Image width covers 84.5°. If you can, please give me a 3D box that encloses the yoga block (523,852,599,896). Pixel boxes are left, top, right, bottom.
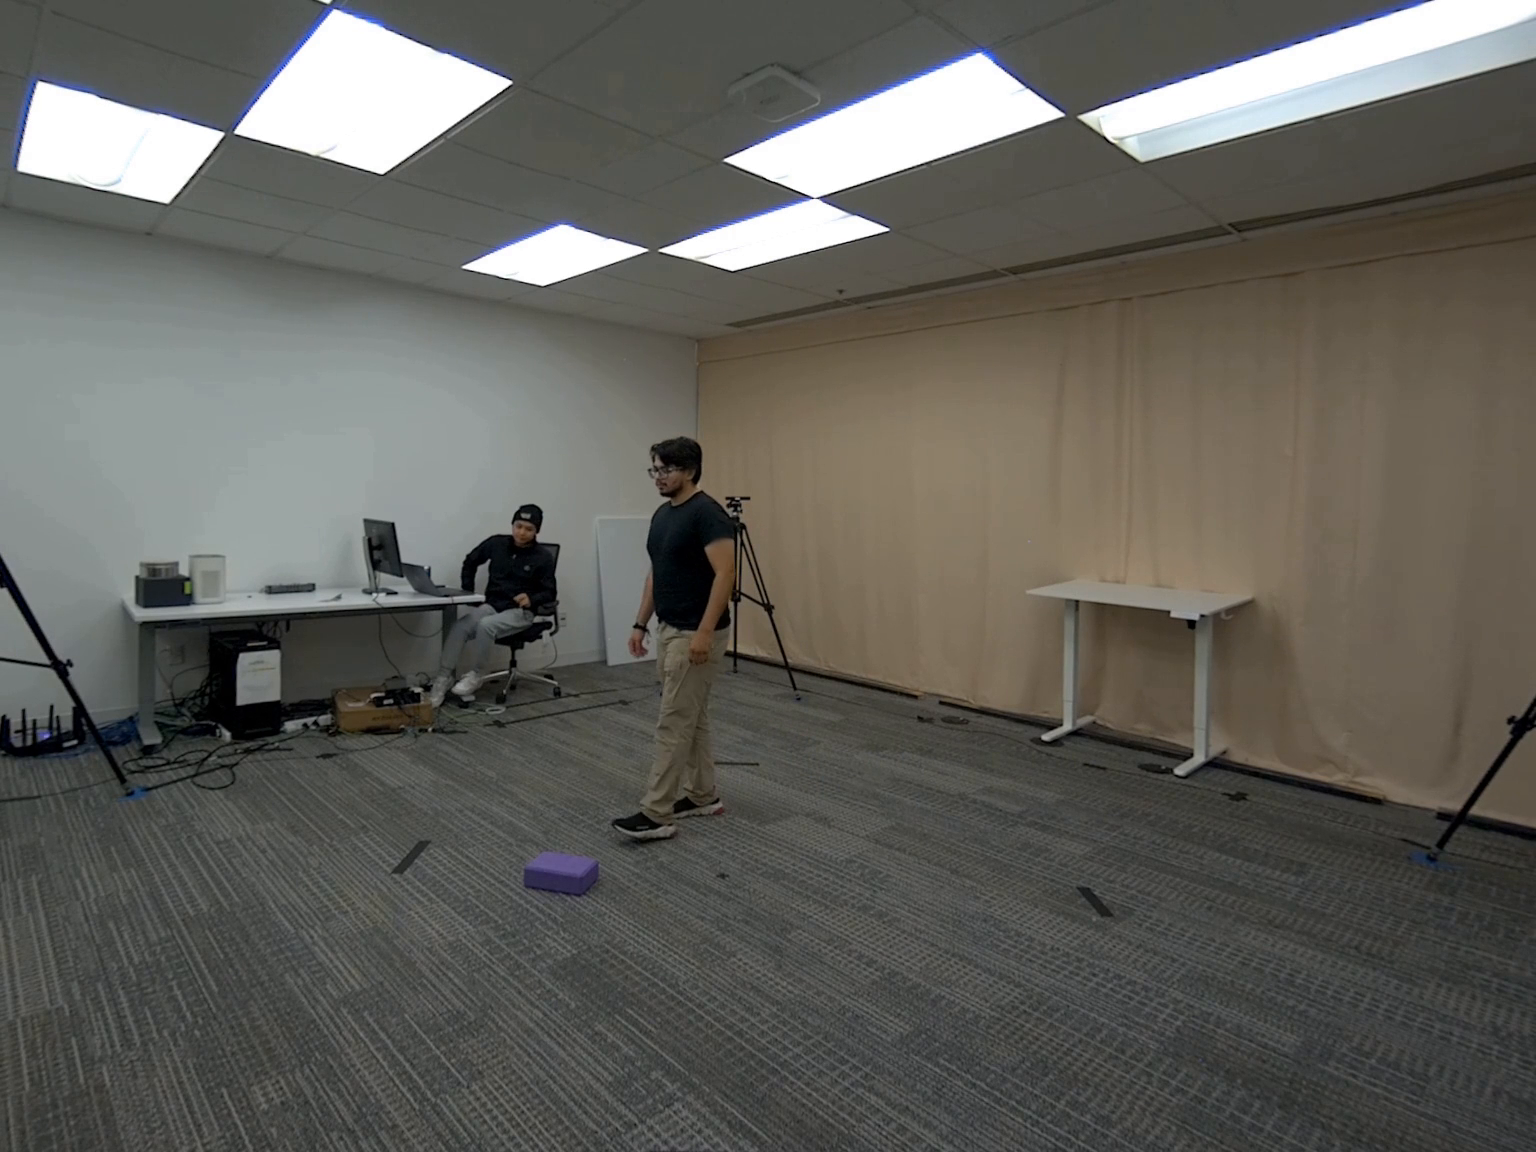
[{"bbox_3d":[-0.748,1.064,3.011,0.232,0.076,0.147,3,5,16],"label":"yoga block"}]
